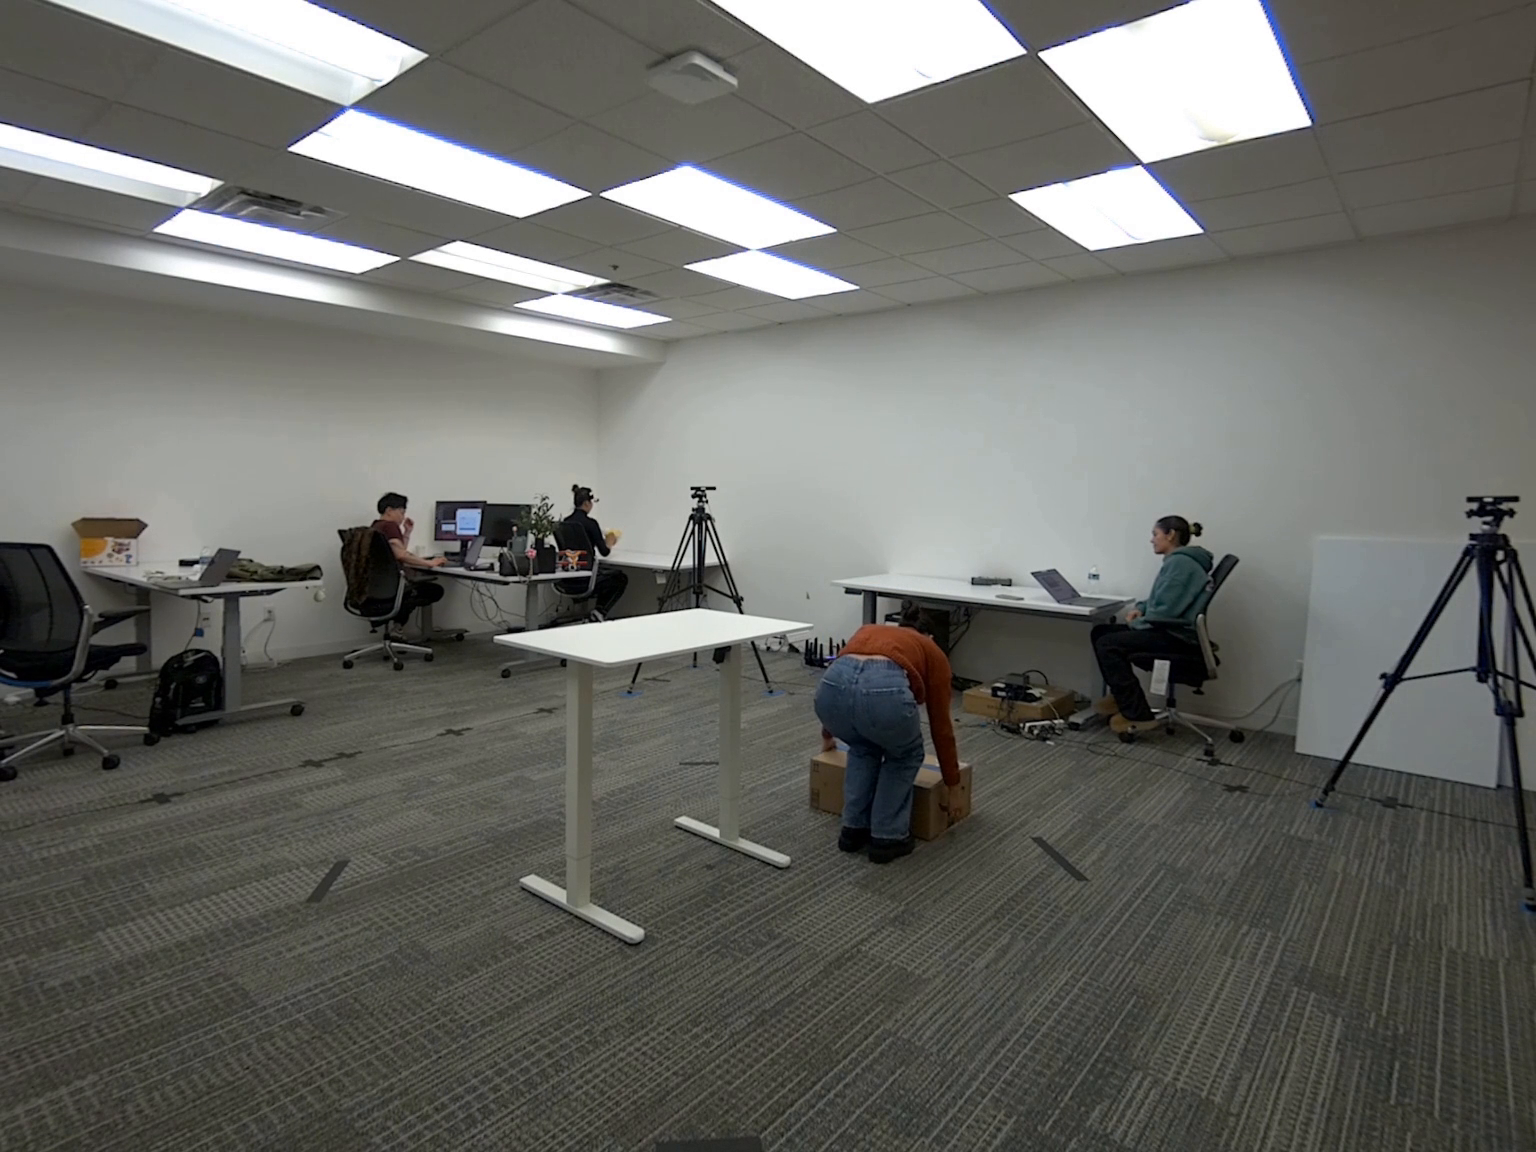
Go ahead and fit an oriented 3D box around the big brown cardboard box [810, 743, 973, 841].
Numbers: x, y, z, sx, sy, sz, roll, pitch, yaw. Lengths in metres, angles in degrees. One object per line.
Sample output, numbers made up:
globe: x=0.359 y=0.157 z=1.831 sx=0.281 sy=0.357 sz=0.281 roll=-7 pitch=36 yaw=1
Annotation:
big brown cardboard box: x=0.528 y=0.904 z=3.705 sx=0.608 sy=0.232 sz=0.406 roll=4 pitch=5 yaw=36
